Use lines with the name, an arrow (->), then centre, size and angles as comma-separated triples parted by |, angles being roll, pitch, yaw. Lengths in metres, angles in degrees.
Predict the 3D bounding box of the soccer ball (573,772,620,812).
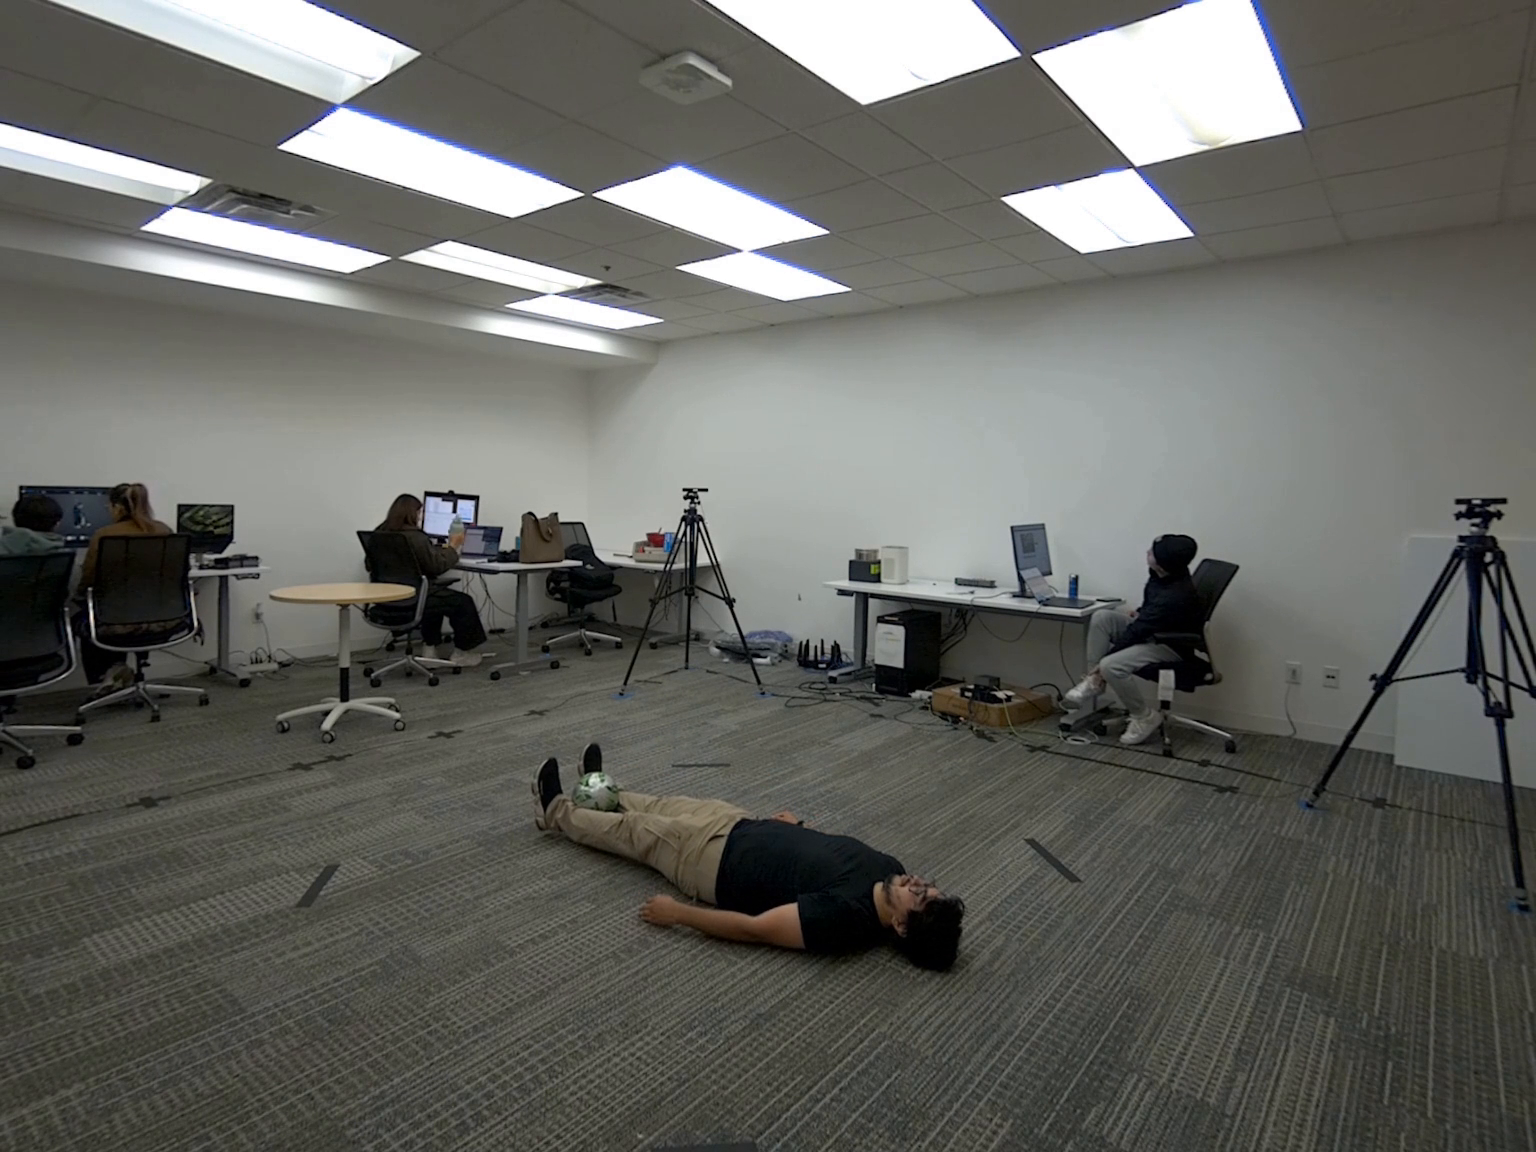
soccer ball -> -0.706, 0.878, 3.400 | 0.187, 0.187, 0.188 | 0, 4, -2
